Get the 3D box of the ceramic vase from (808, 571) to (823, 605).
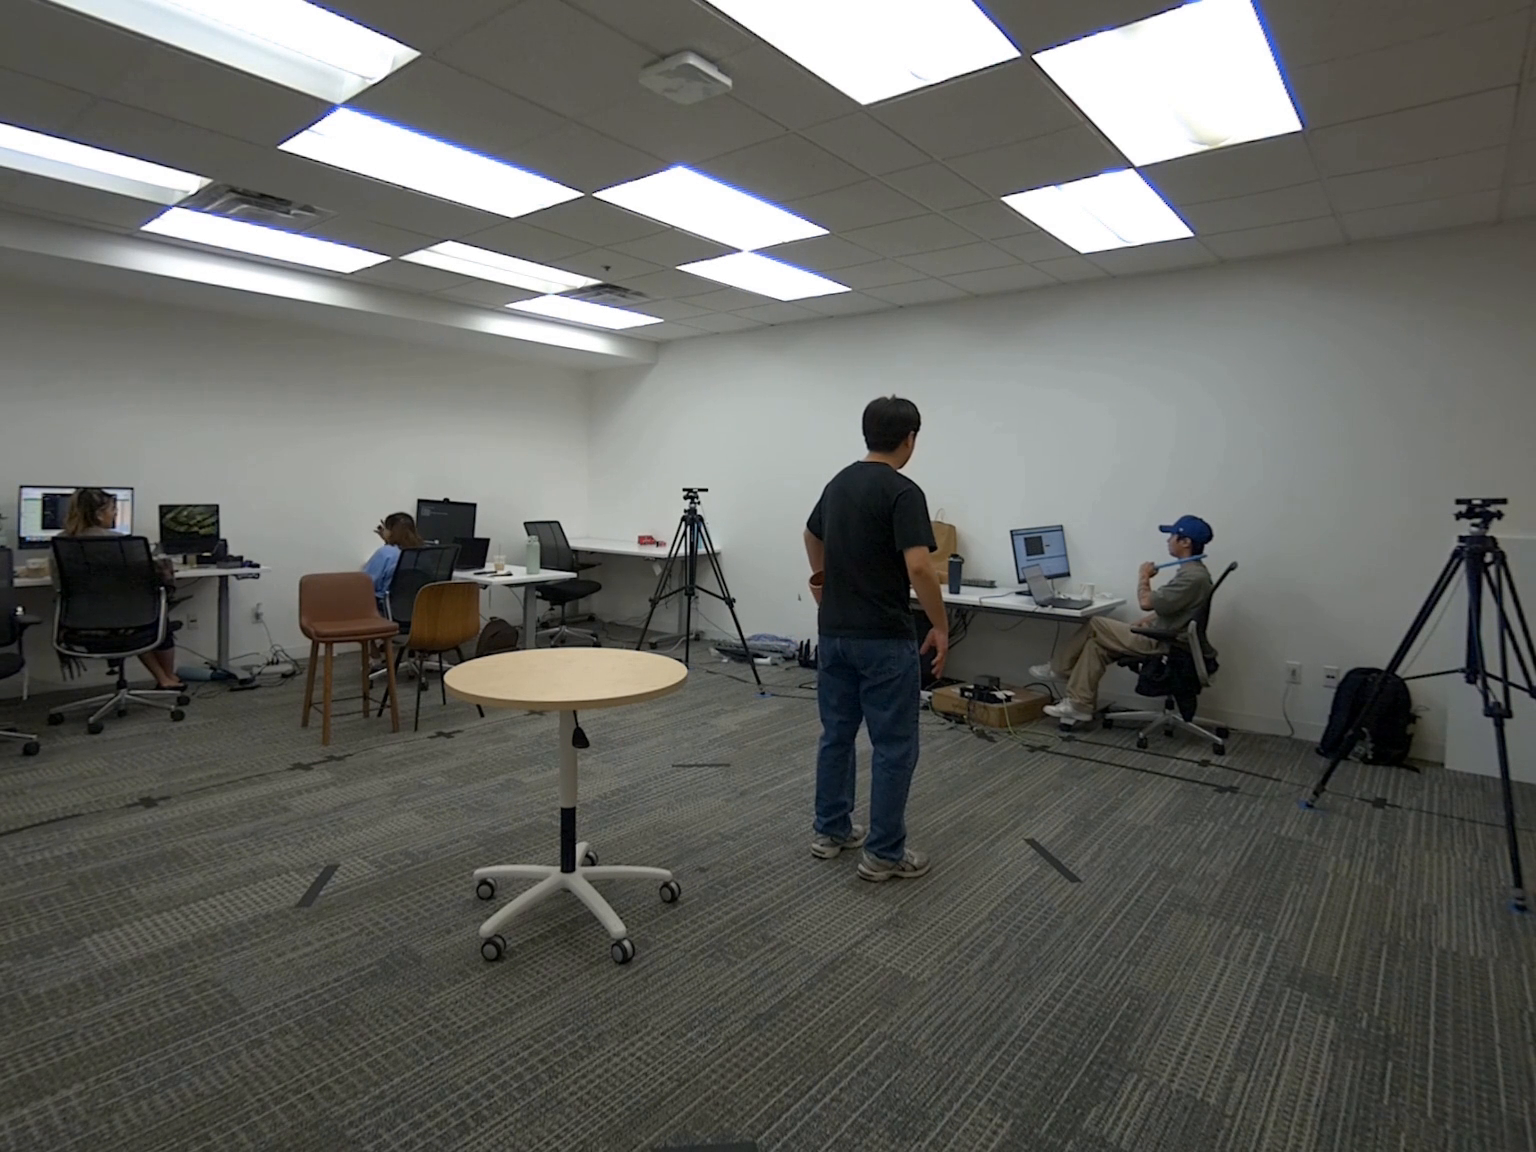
[{"bbox_3d":[0.261,0.085,3.486,0.136,0.213,0.162,-15,27,15],"label":"ceramic vase"}]
